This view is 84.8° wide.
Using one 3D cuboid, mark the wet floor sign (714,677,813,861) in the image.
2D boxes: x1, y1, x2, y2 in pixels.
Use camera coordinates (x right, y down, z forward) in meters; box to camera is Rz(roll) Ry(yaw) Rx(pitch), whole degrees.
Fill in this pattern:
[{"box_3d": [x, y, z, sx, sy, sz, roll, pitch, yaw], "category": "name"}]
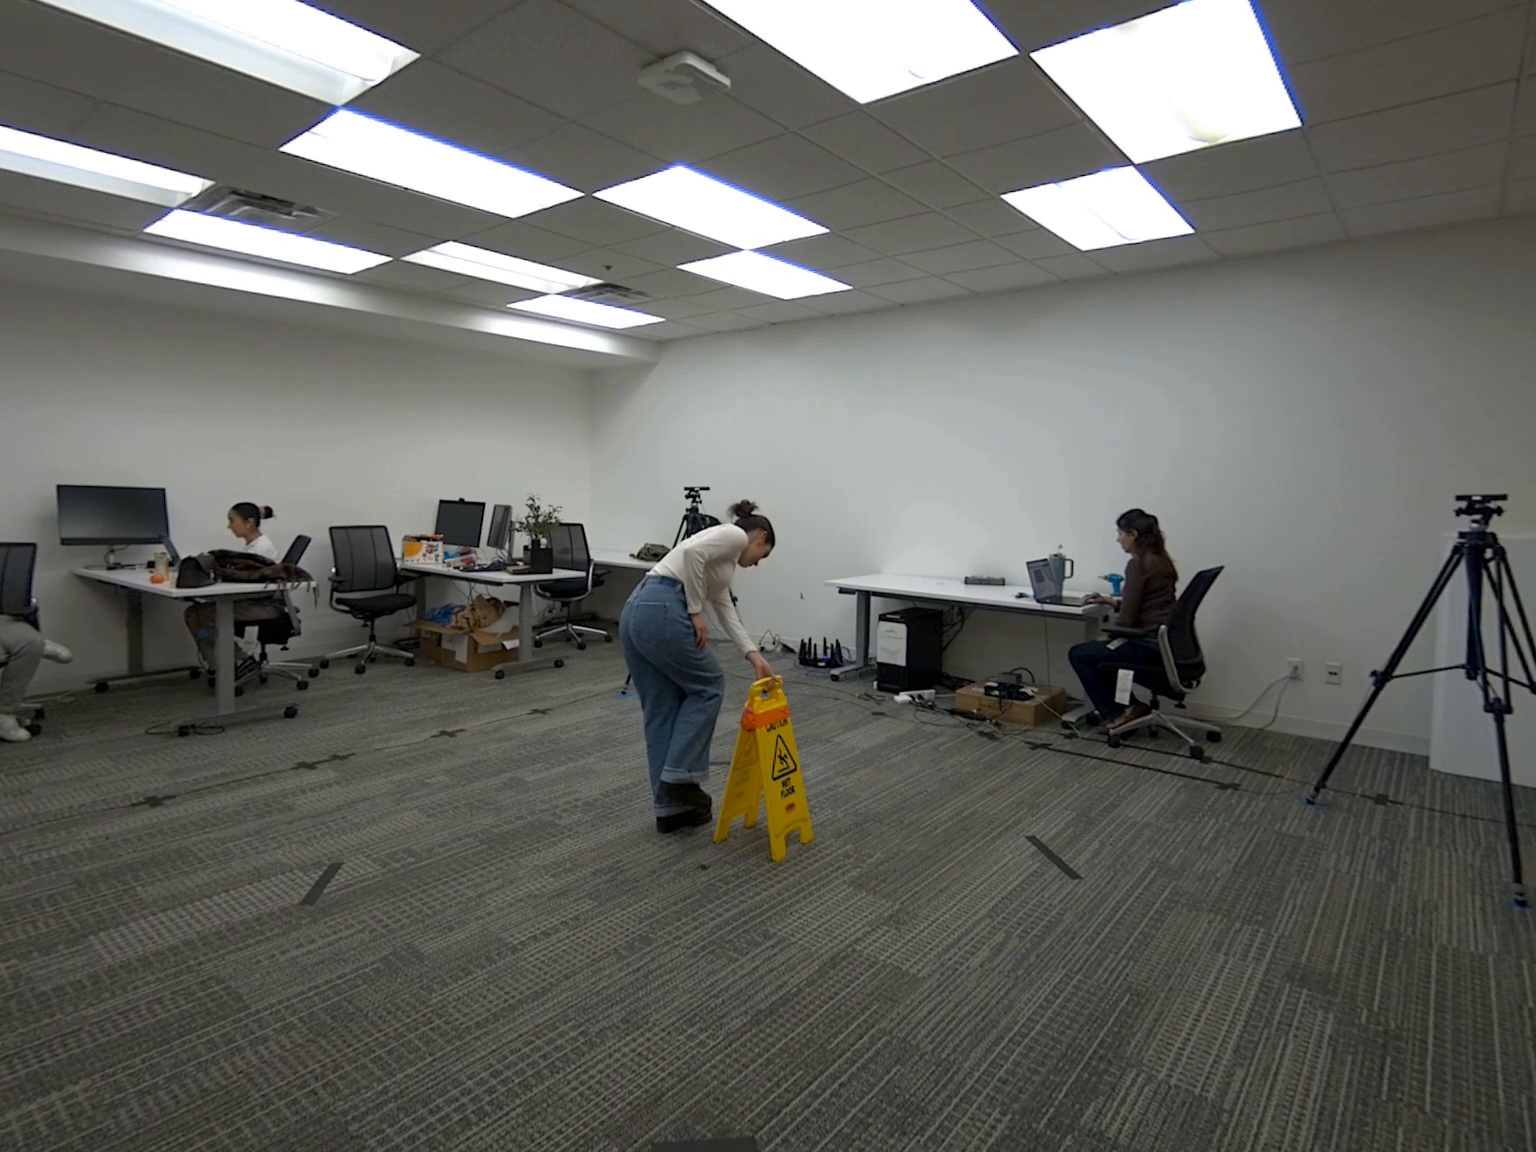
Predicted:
[{"box_3d": [-0.015, 0.721, 3.346, 0.299, 0.644, 0.274, 3, 5, 35], "category": "wet floor sign"}]
